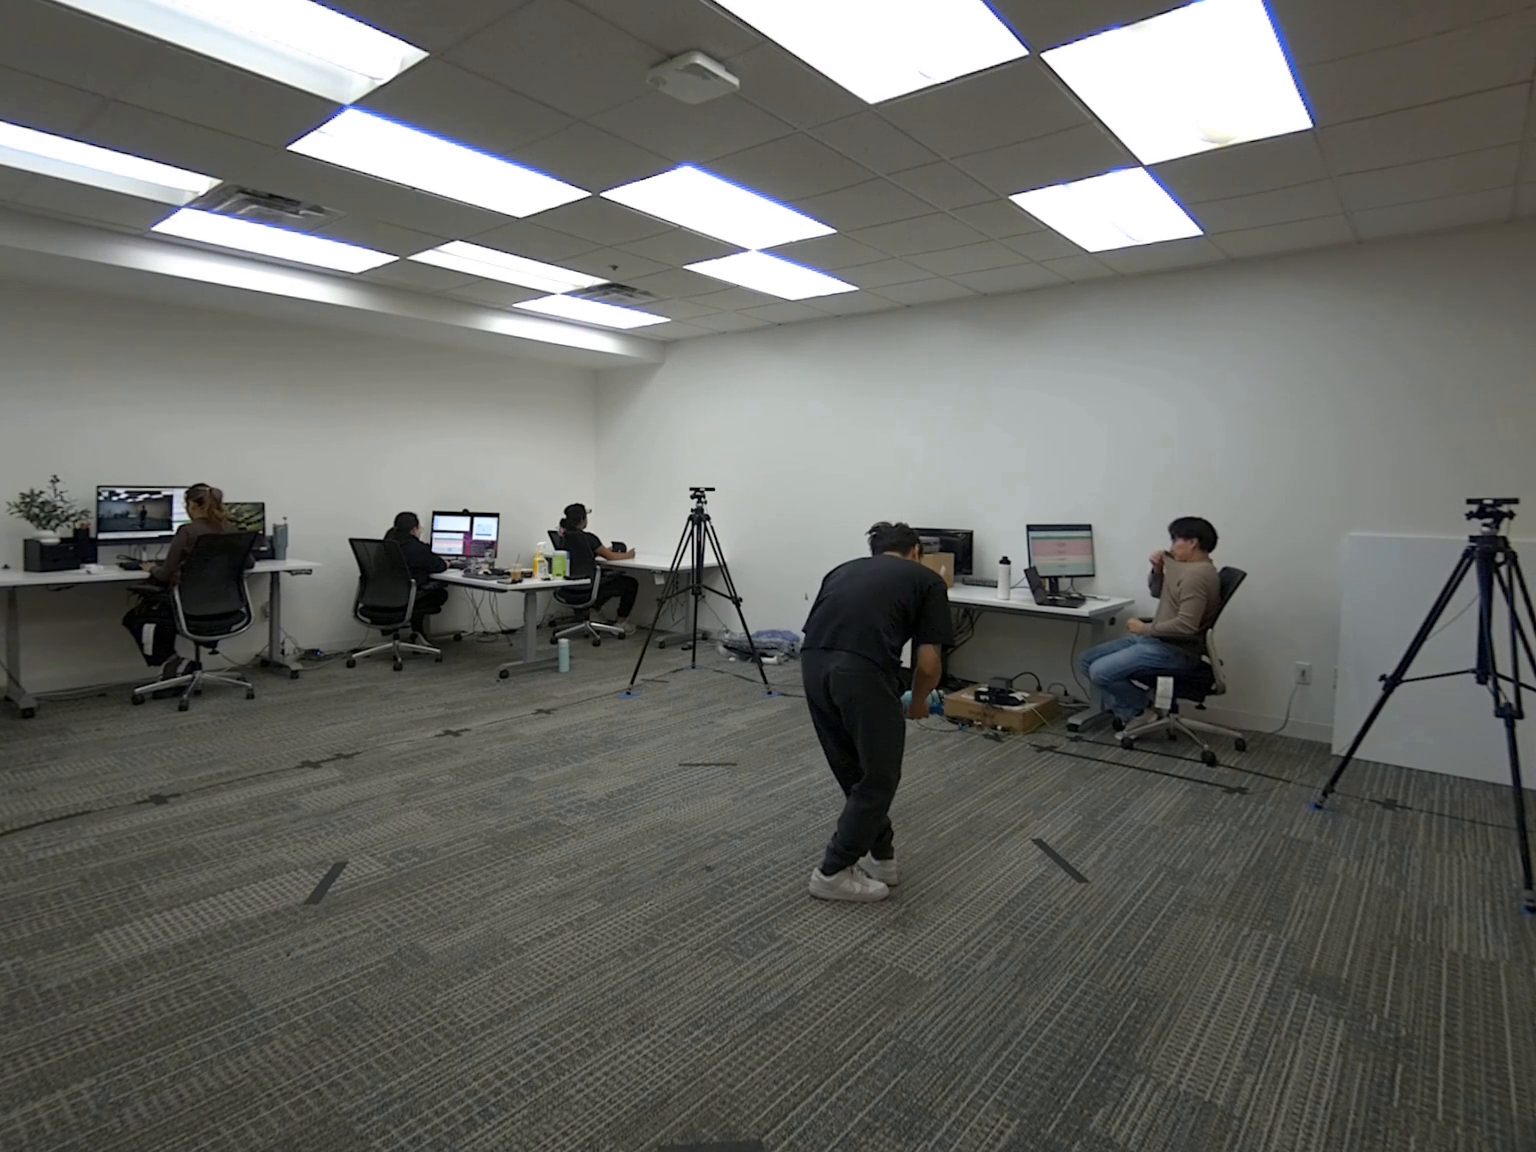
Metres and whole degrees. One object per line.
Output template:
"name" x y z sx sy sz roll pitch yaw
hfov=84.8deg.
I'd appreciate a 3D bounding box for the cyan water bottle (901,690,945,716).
"cyan water bottle" 0.511 0.475 3.164 0.283 0.092 0.093 -7 4 0
